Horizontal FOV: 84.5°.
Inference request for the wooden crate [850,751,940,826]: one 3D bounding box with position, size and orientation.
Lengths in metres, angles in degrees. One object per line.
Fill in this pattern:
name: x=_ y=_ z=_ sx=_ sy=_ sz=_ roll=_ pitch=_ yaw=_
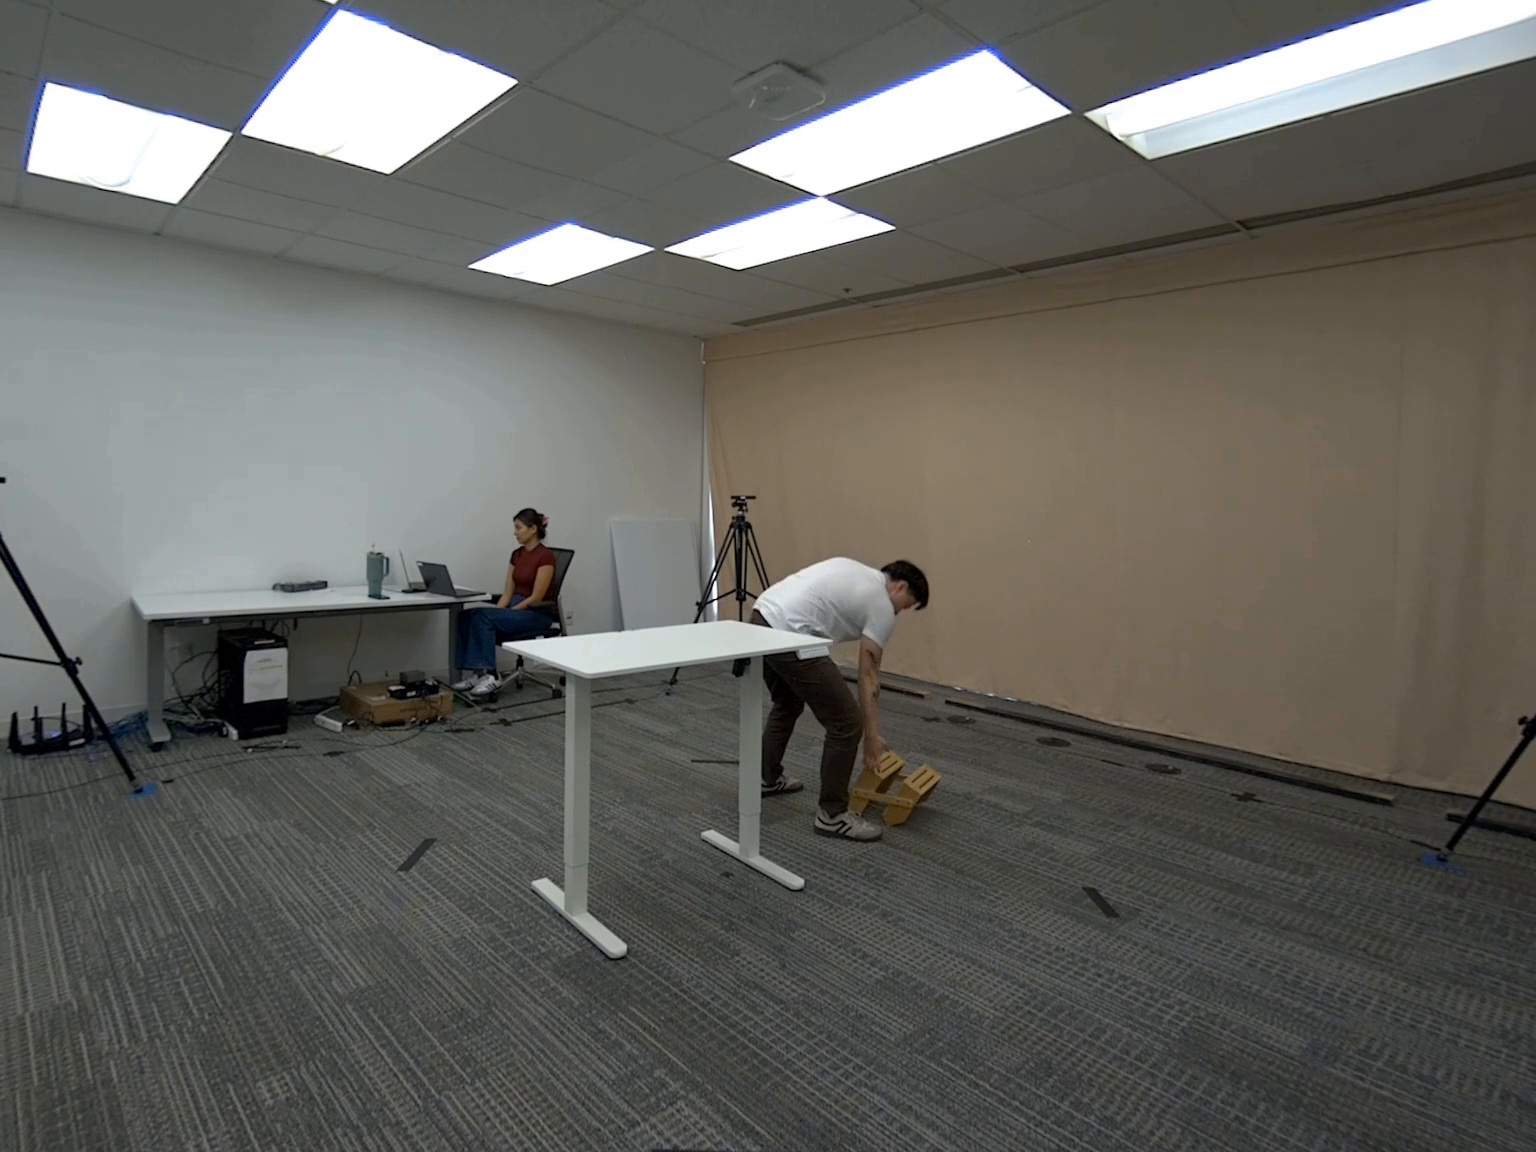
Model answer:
wooden crate: x=0.544 y=0.974 z=3.758 sx=0.280 sy=0.300 sz=0.318 roll=34 pitch=19 yaw=25
